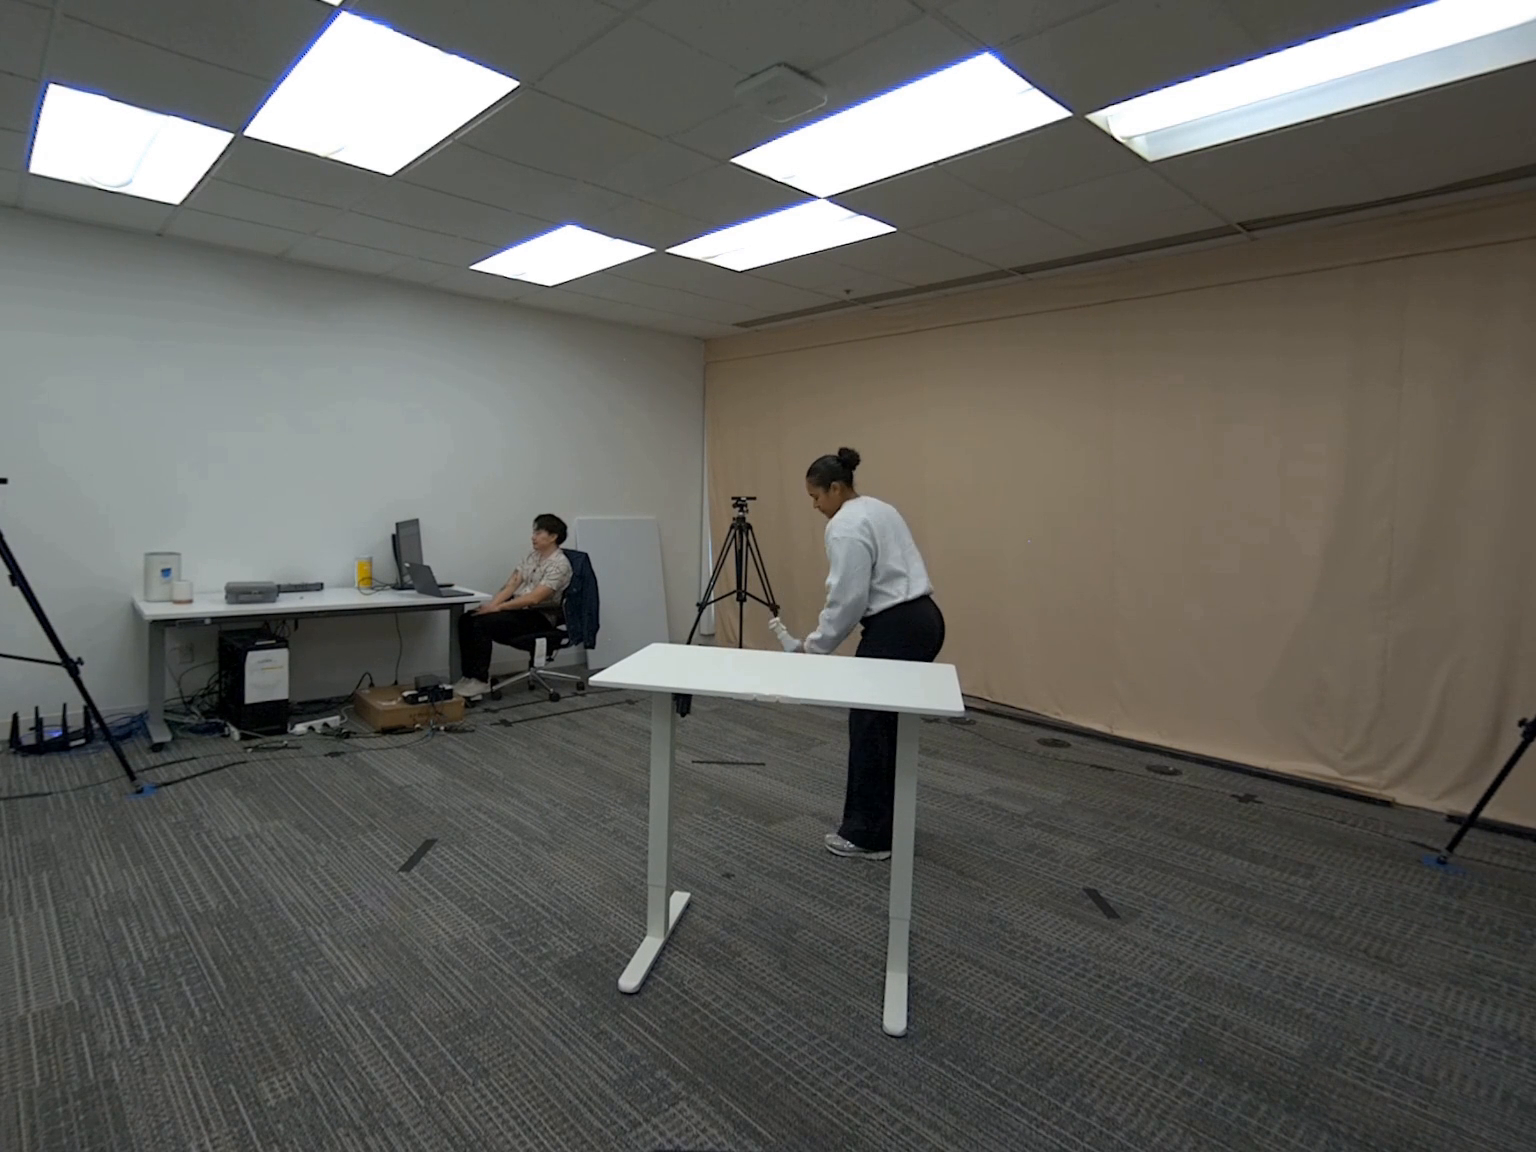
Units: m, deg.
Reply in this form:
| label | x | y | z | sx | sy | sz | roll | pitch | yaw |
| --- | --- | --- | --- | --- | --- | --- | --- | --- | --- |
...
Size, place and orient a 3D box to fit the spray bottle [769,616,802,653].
| label | x | y | z | sx | sy | sz | roll | pitch | yaw |
| --- | --- | --- | --- | --- | --- | --- | --- | --- | --- |
| spray bottle | 0.107 | 0.308 | 3.426 | 0.087 | 0.295 | 0.091 | -38 | 8 | -12 |
